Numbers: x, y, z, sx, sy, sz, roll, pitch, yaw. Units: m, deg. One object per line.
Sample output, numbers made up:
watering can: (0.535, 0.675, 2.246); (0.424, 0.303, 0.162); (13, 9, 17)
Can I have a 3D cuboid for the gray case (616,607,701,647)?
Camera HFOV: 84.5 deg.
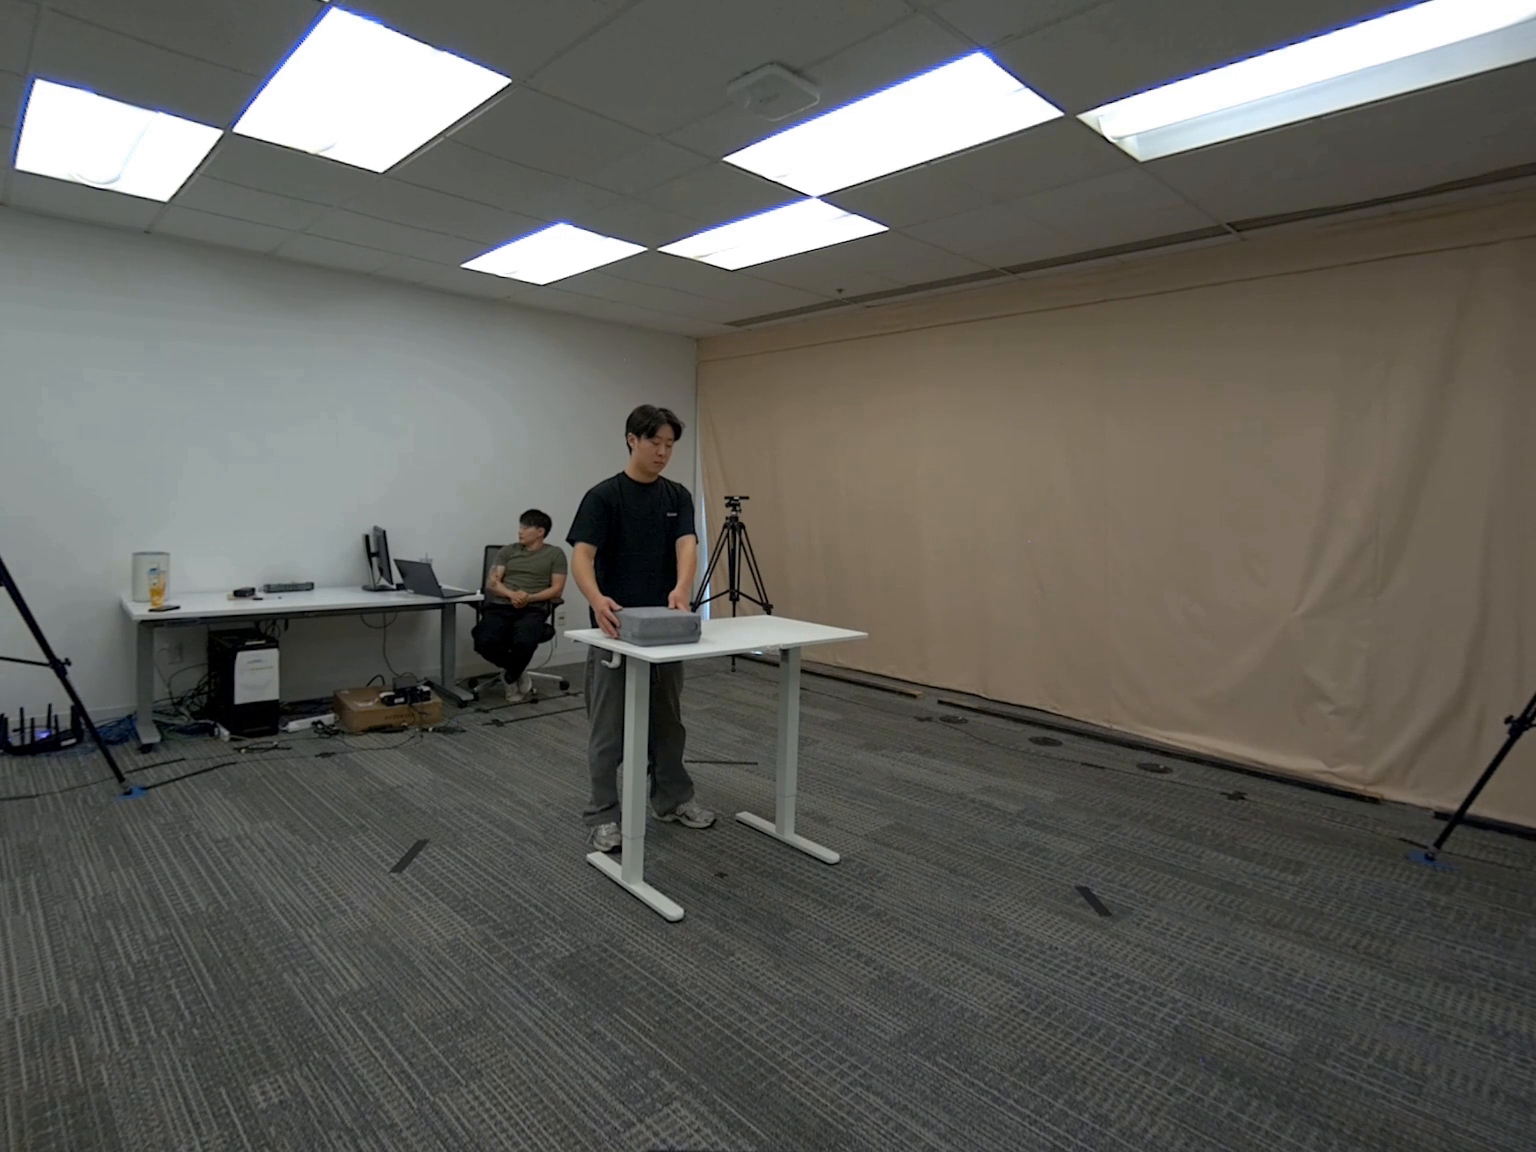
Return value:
gray case: (-0.381, 0.176, 2.955); (0.281, 0.103, 0.269); (-1, 5, -34)
